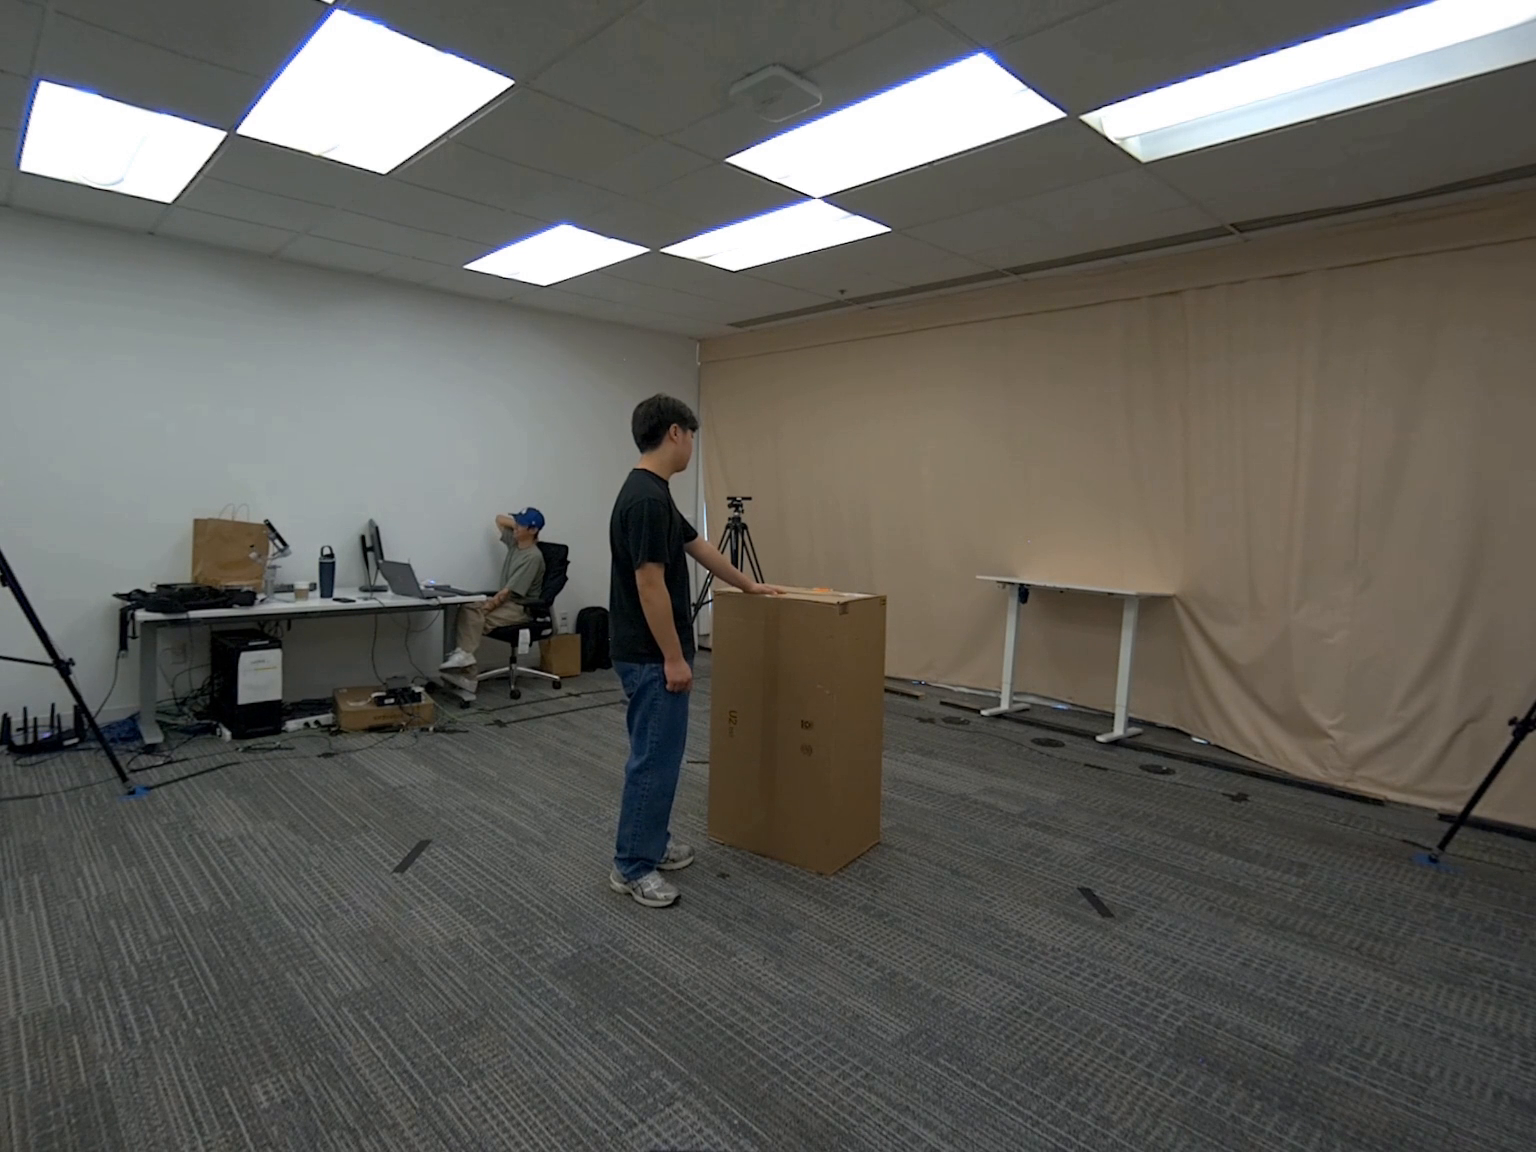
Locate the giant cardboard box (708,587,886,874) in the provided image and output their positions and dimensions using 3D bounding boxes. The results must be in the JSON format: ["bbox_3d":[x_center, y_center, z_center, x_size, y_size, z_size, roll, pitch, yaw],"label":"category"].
[{"bbox_3d":[0.117,0.573,3.432,0.598,1.025,0.437,4,3,36],"label":"giant cardboard box"}]
